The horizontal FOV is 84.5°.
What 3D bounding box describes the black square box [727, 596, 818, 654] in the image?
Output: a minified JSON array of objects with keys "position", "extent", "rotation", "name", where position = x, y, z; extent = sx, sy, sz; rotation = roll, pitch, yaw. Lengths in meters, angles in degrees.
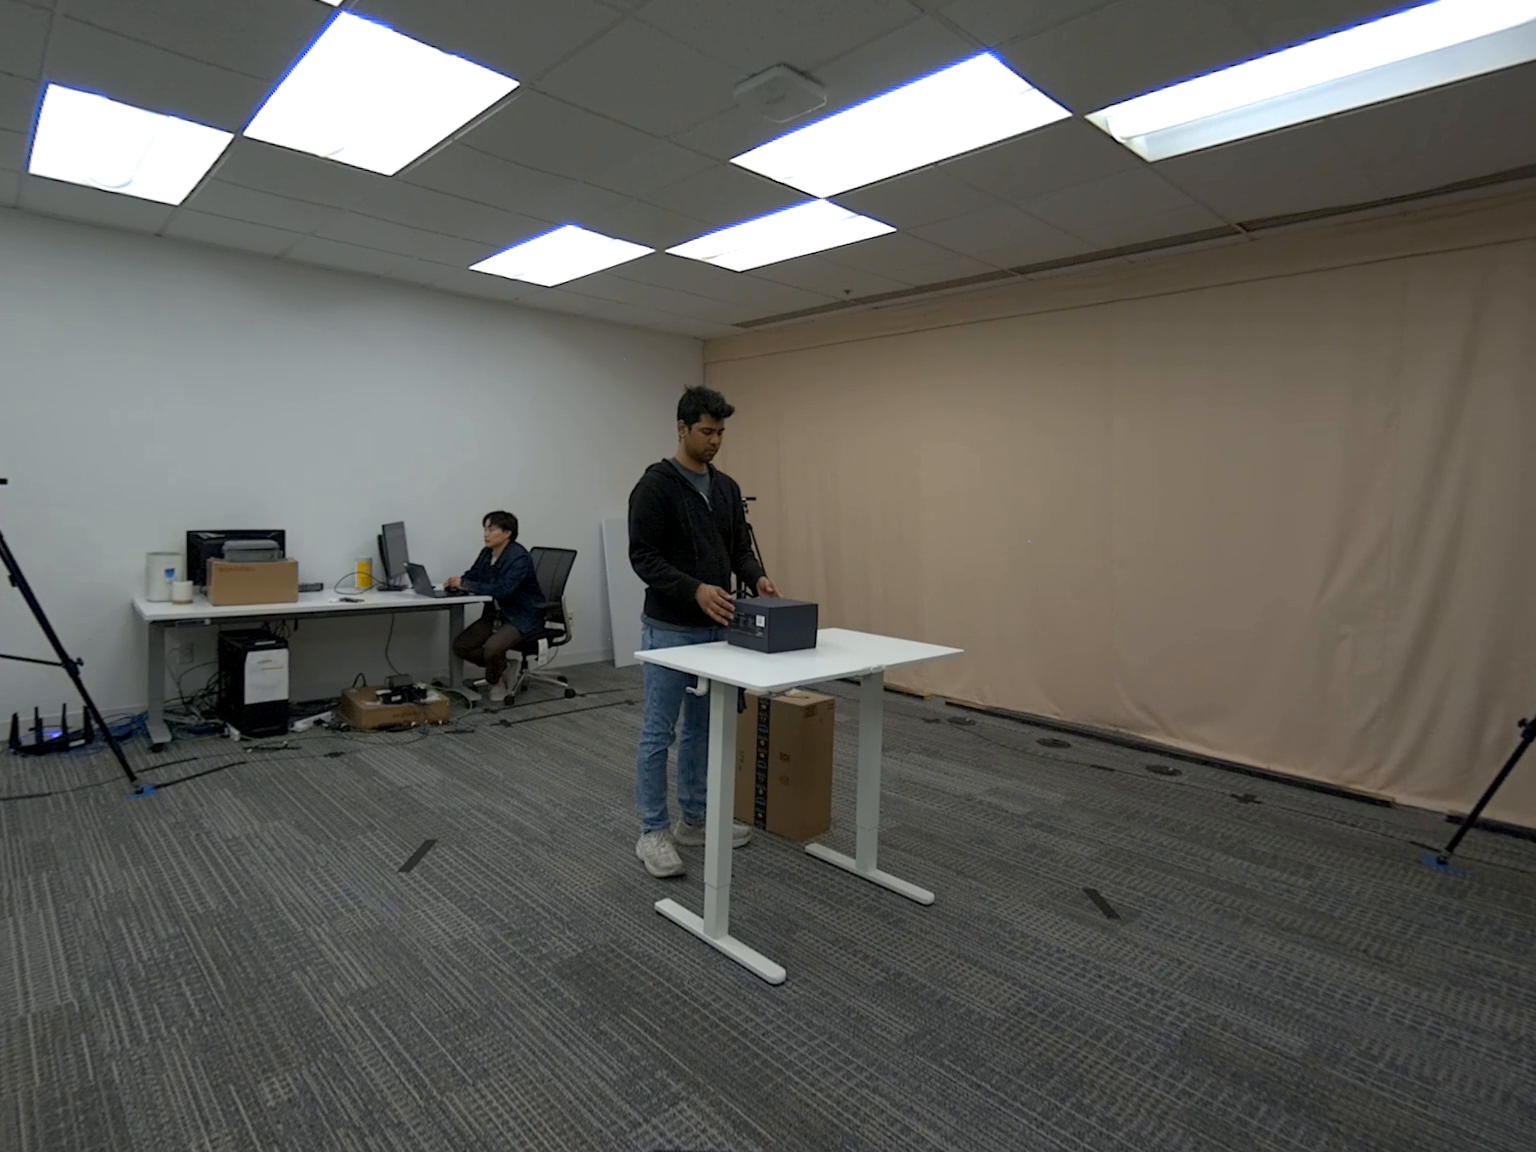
[{"position":[0.018,0.164,2.908],"extent":[0.223,0.155,0.222],"rotation":[-3,7,-41],"name":"black square box"}]
